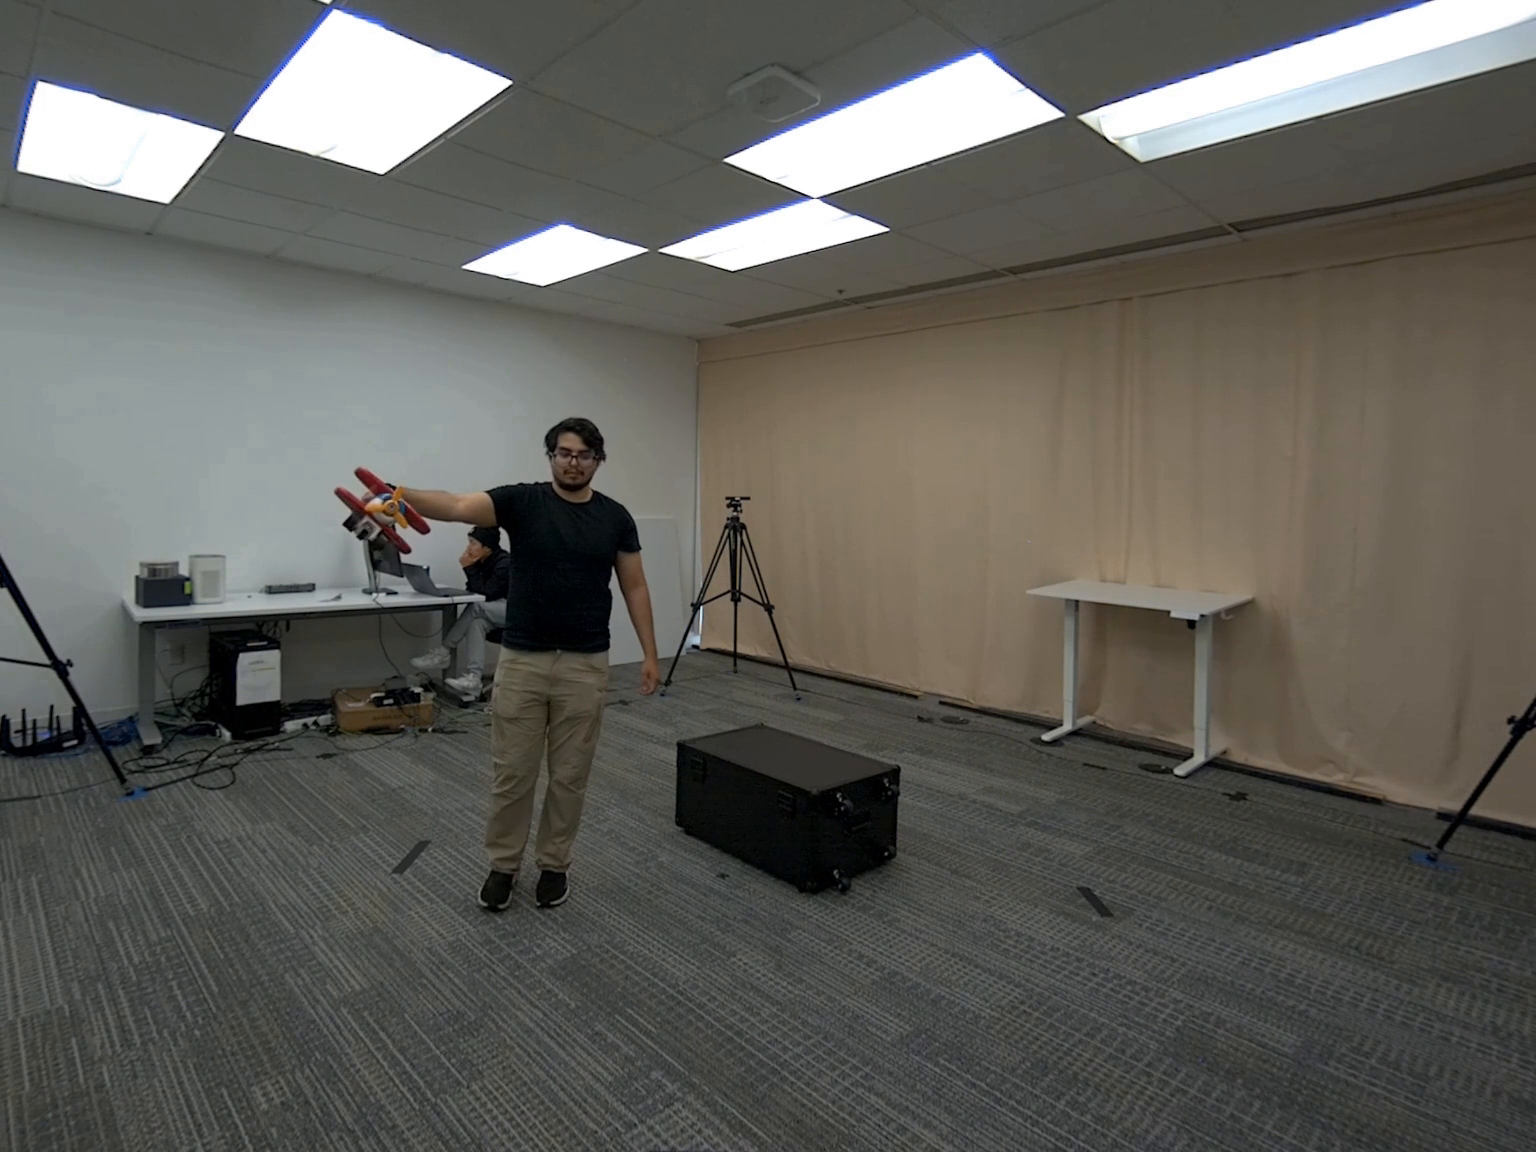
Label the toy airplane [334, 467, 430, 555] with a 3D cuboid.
[{"bbox_3d":[-1.115,-0.174,2.323,0.267,0.156,0.243,29,-20,35],"label":"toy airplane"}]
